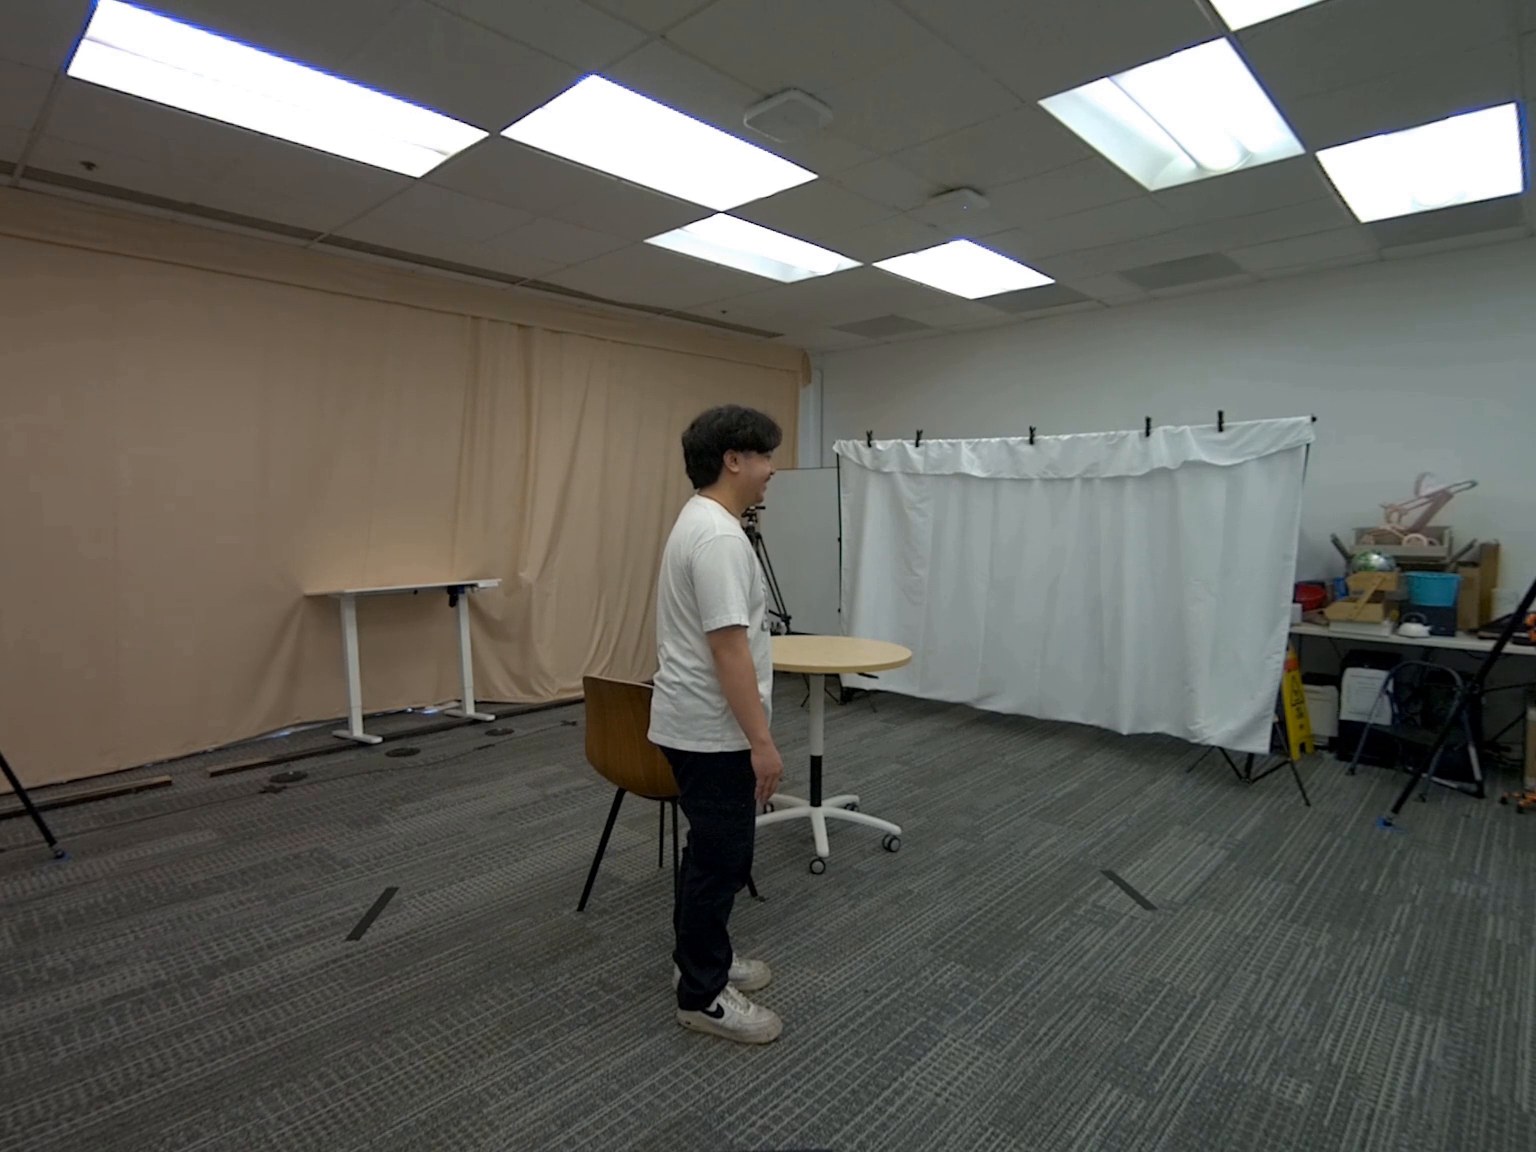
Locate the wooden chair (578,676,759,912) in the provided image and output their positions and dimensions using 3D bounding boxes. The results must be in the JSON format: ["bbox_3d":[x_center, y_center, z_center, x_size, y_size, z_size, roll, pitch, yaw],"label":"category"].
[{"bbox_3d":[-0.345,0.724,2.926,0.493,0.873,0.509,2,8,35],"label":"wooden chair"}]
